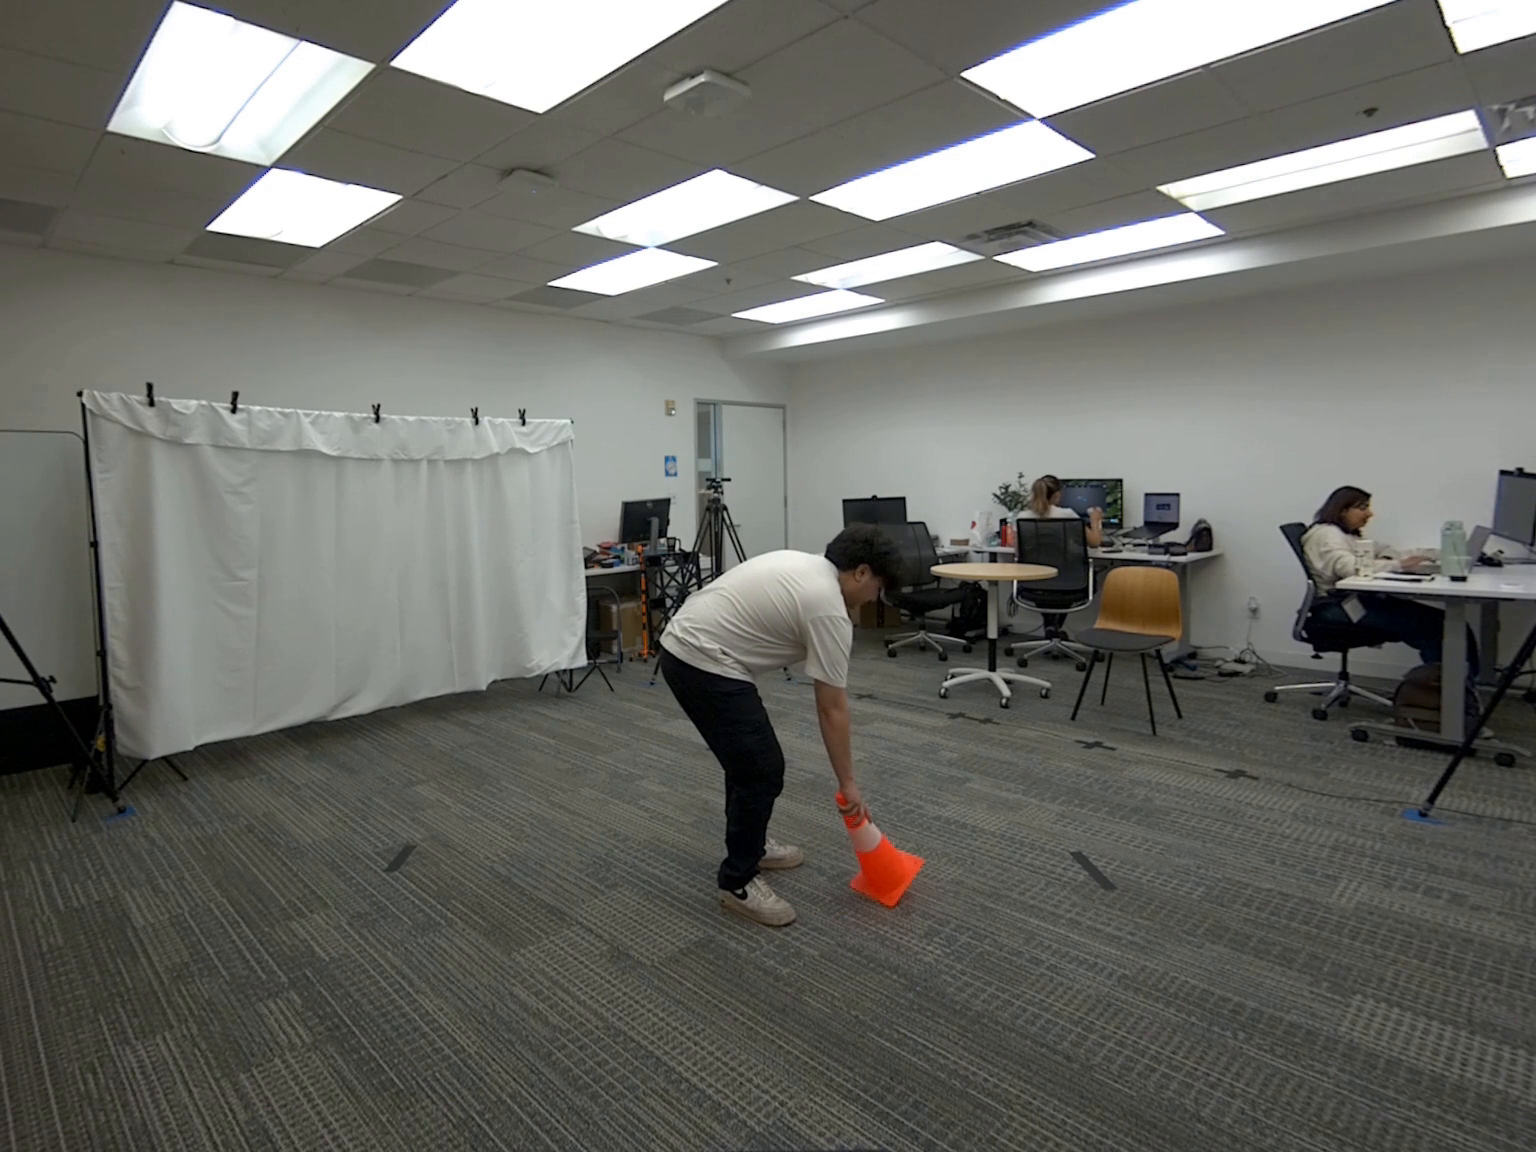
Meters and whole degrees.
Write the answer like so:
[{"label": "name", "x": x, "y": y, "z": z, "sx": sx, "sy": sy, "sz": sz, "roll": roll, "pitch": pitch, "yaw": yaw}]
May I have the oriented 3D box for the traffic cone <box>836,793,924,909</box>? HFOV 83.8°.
[{"label": "traffic cone", "x": 0.309, "y": 0.855, "z": 2.818, "sx": 0.202, "sy": 0.375, "sz": 0.210, "roll": -40, "pitch": 23, "yaw": -33}]
